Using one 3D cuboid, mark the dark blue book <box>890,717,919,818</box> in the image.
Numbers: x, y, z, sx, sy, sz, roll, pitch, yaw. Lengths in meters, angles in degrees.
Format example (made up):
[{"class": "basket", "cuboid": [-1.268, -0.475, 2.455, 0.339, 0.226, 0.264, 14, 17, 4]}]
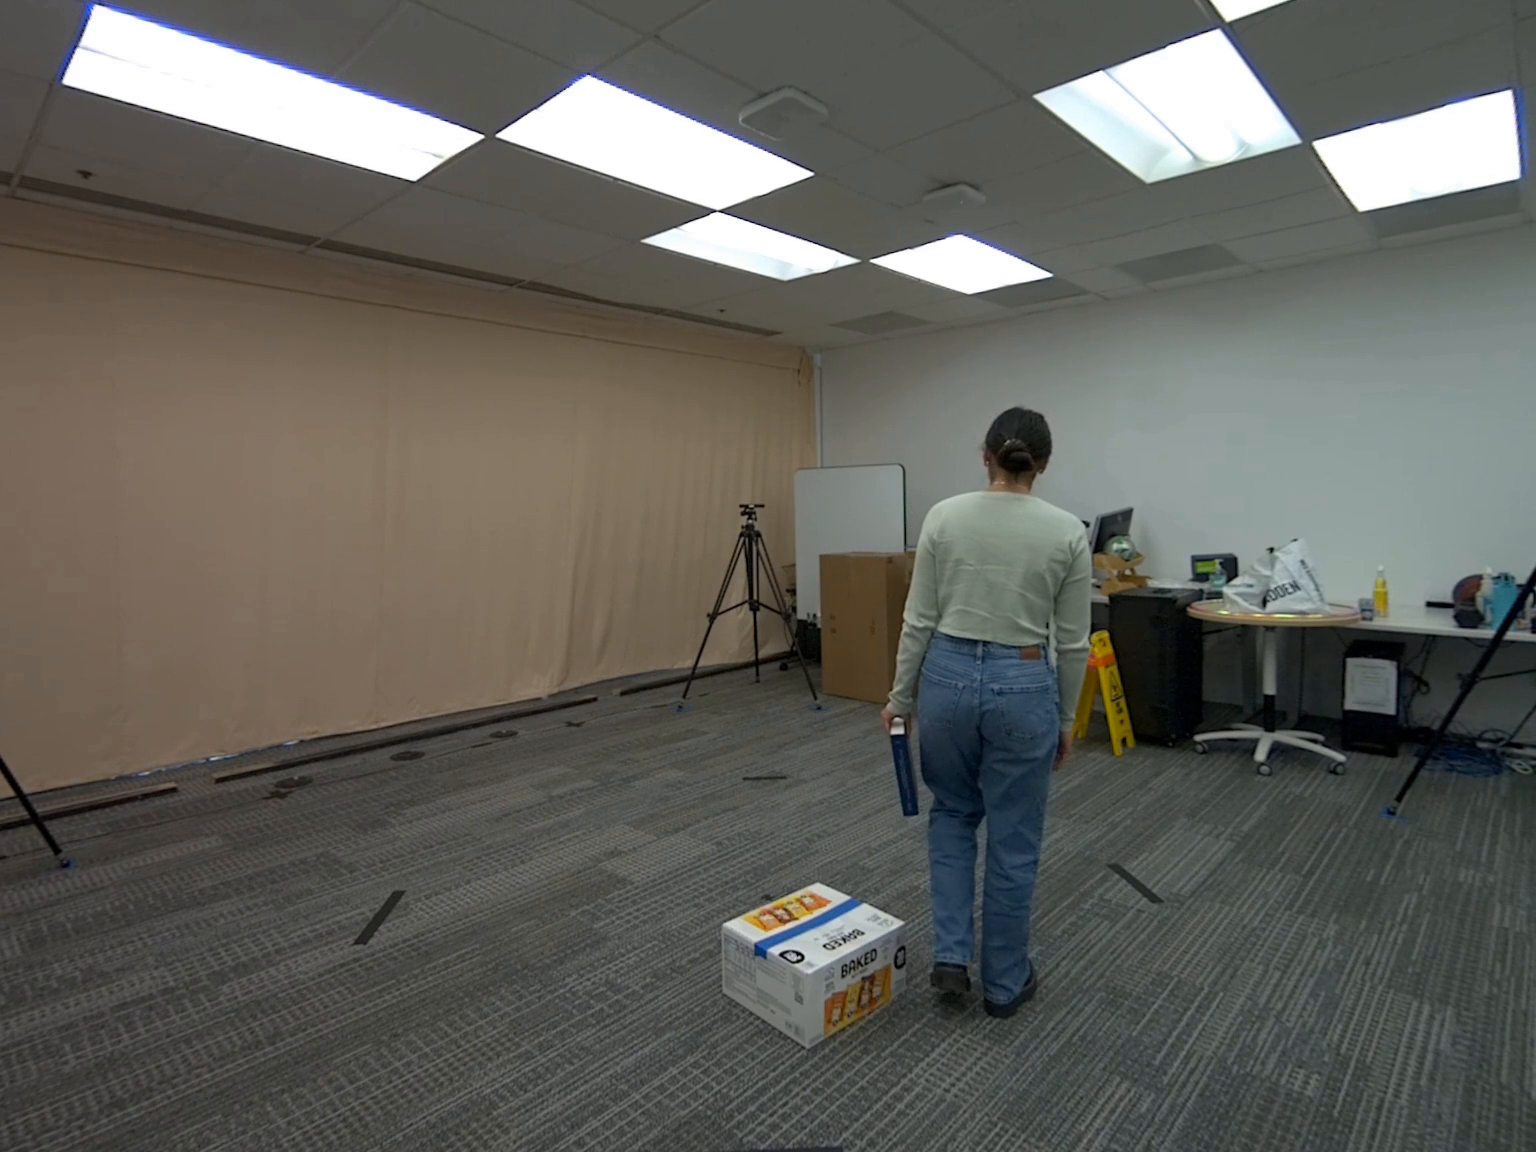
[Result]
[{"class": "dark blue book", "cuboid": [0.401, 0.548, 2.416, 0.046, 0.244, 0.162, -8, 7, 13]}]
